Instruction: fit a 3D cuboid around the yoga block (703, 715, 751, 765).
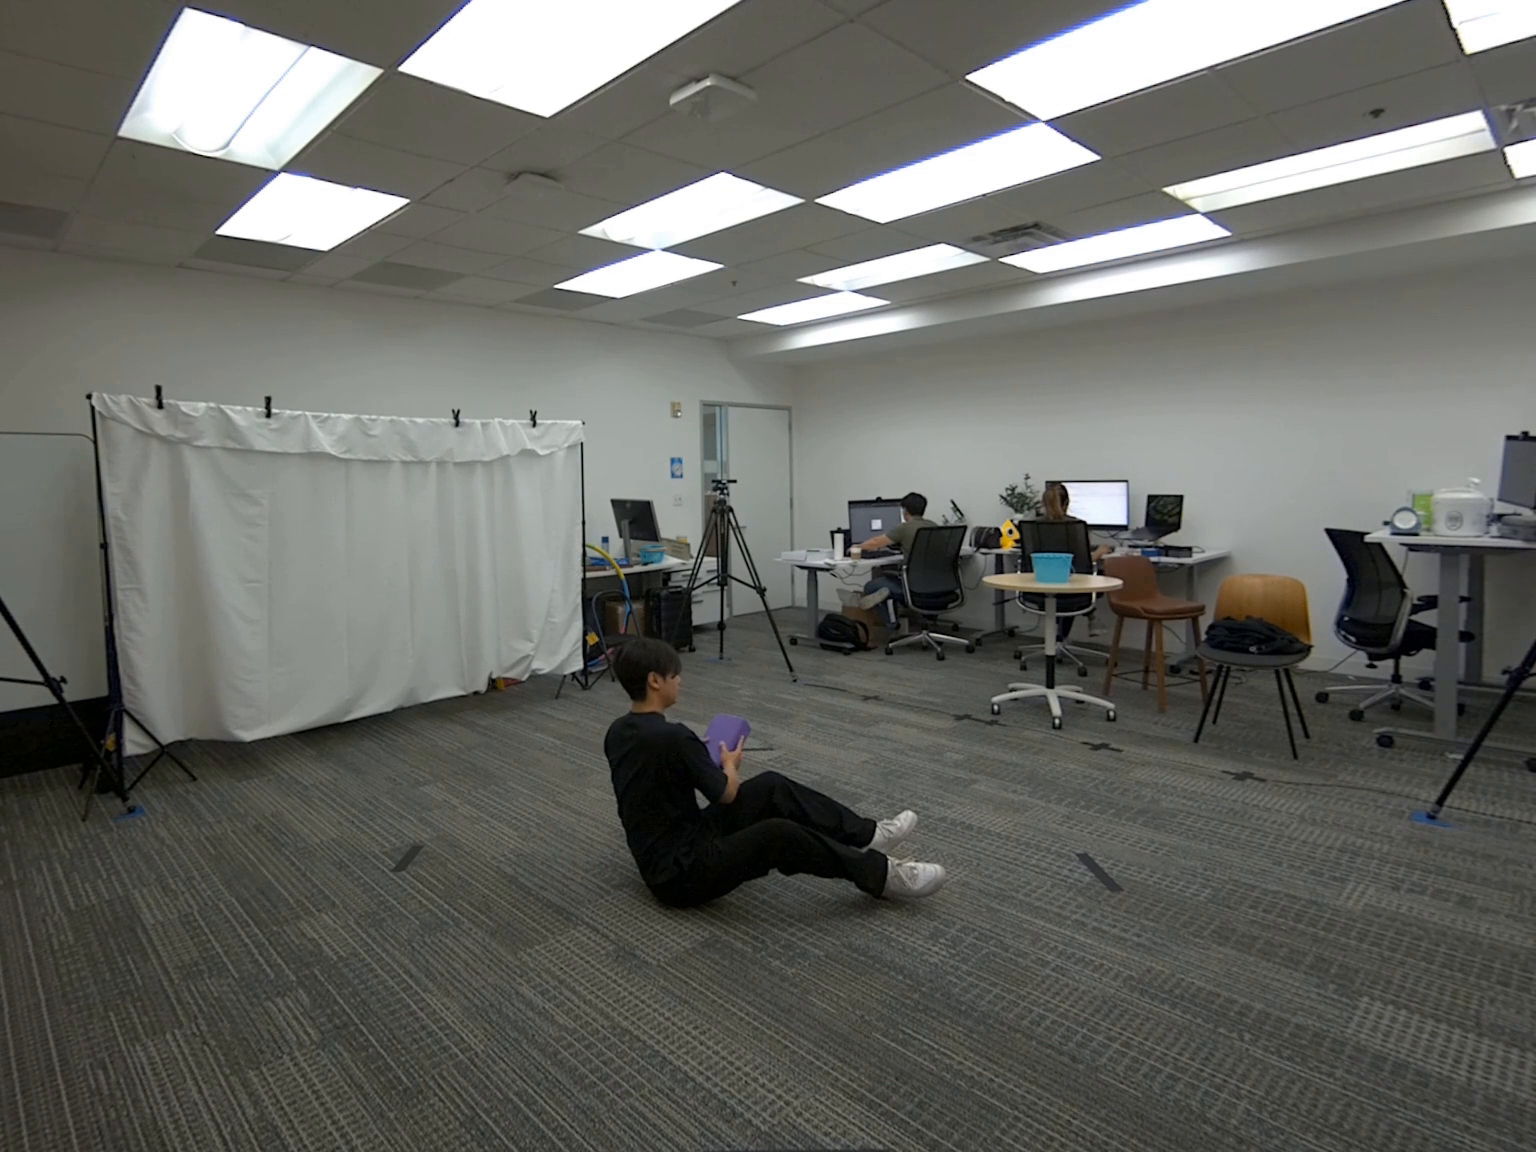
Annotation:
[{"bbox_3d":[-0.180,0.645,3.268,0.153,0.074,0.231,1,46,37],"label":"yoga block"}]
